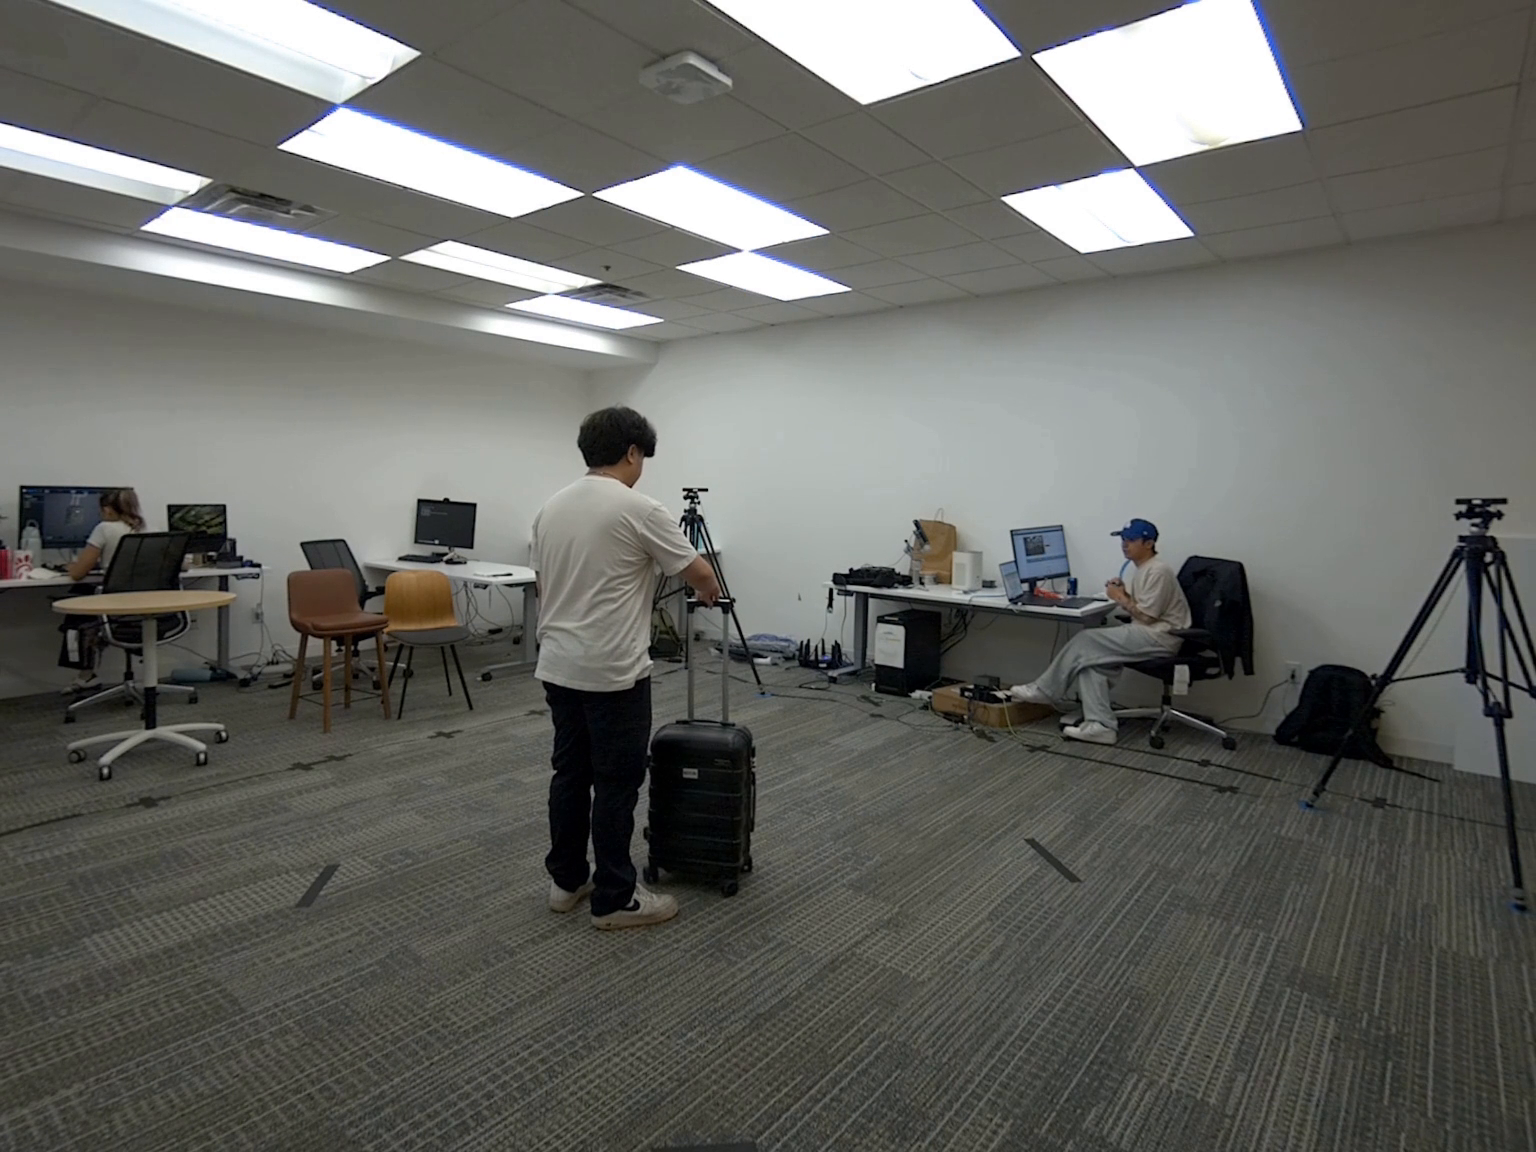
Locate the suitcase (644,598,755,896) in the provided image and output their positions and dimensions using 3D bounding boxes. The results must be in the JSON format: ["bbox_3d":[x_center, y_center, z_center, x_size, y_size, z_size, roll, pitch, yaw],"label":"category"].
[{"bbox_3d":[-0.245,0.602,3.038,0.389,0.974,0.255,1,4,11],"label":"suitcase"}]
